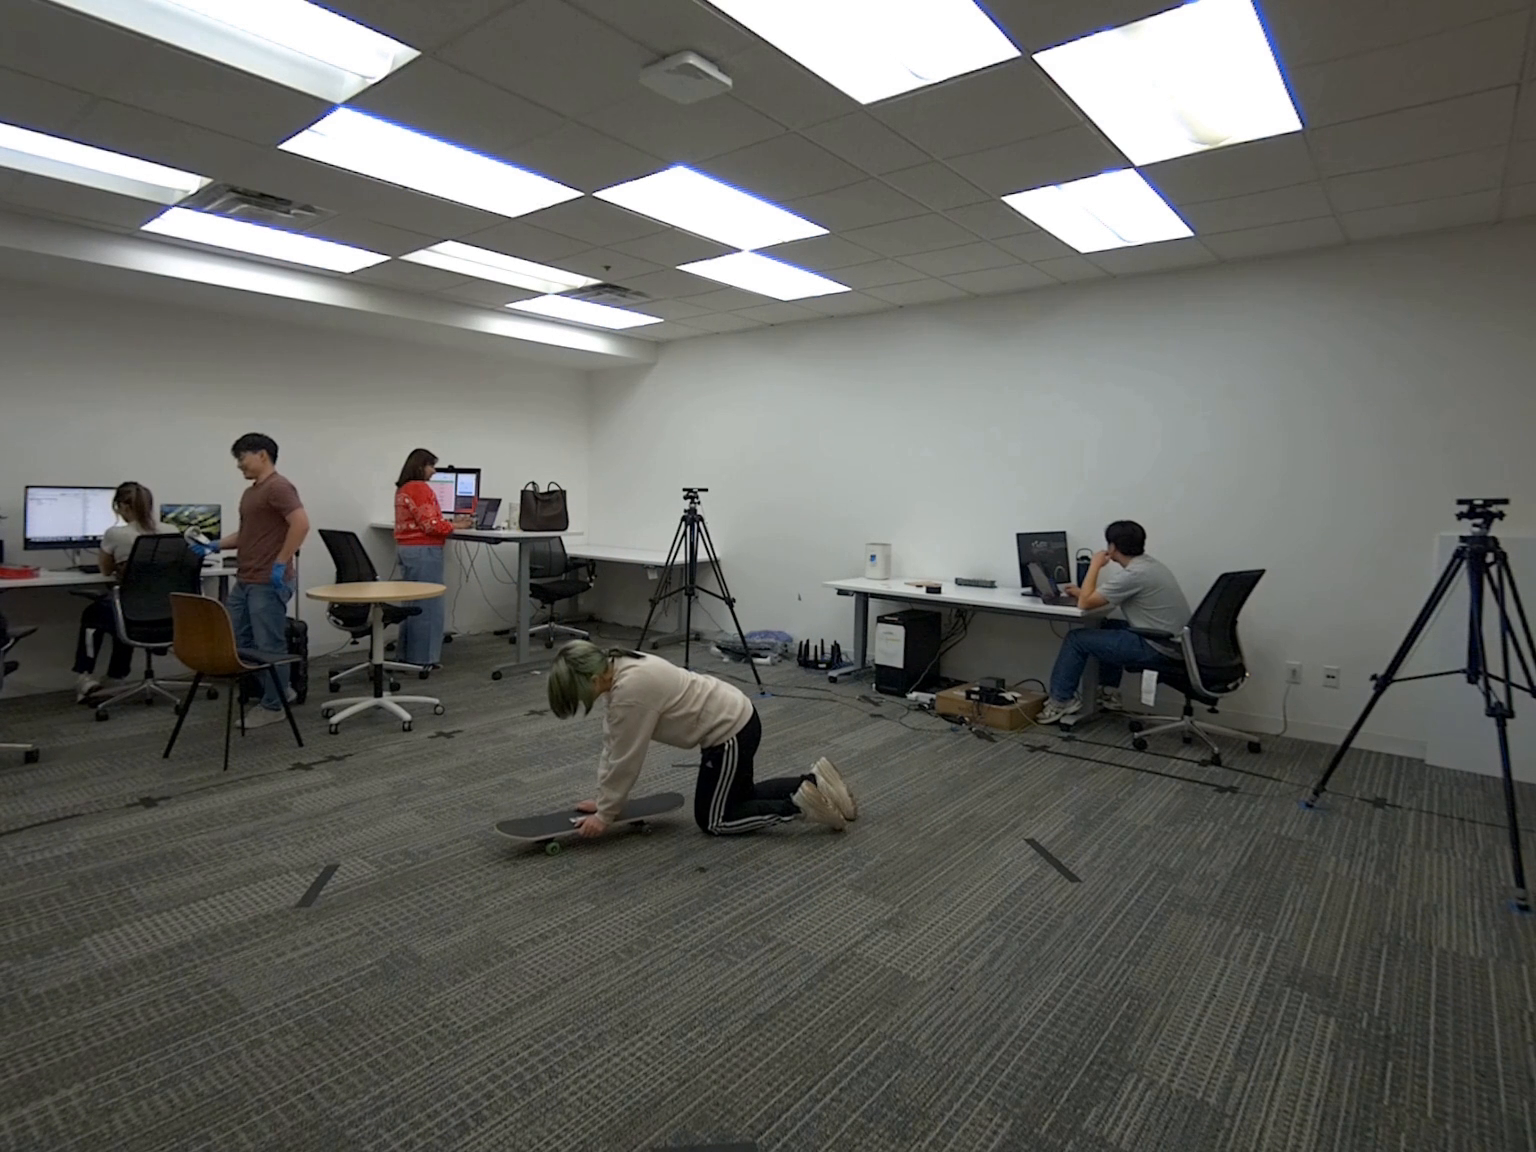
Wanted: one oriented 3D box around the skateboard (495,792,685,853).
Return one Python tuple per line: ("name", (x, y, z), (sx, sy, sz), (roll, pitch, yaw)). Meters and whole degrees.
("skateboard", (-0.698, 0.979, 3.381), (0.765, 0.110, 0.200), (-3, 8, -30))
